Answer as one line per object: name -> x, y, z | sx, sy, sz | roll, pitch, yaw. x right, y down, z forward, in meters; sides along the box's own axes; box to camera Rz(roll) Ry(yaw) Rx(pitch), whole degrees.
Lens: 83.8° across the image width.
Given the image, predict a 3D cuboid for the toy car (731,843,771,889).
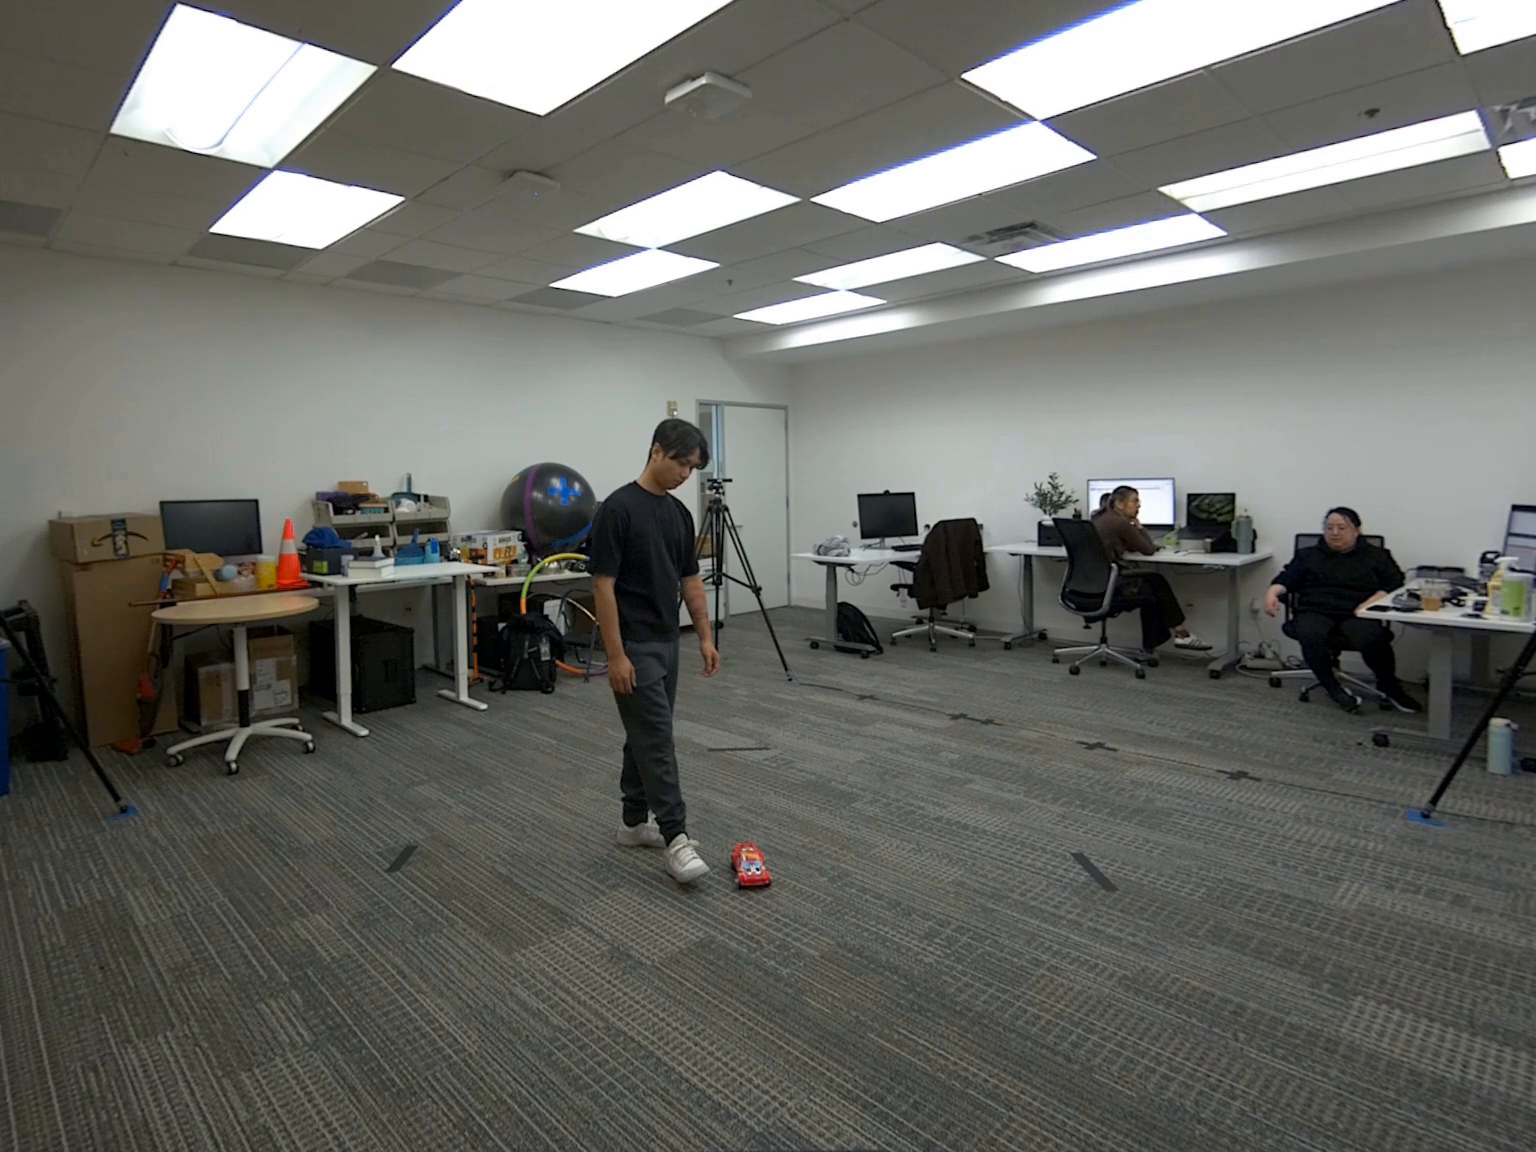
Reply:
toy car -> -0.069, 1.020, 3.020 | 0.129, 0.082, 0.260 | -1, 18, -9
